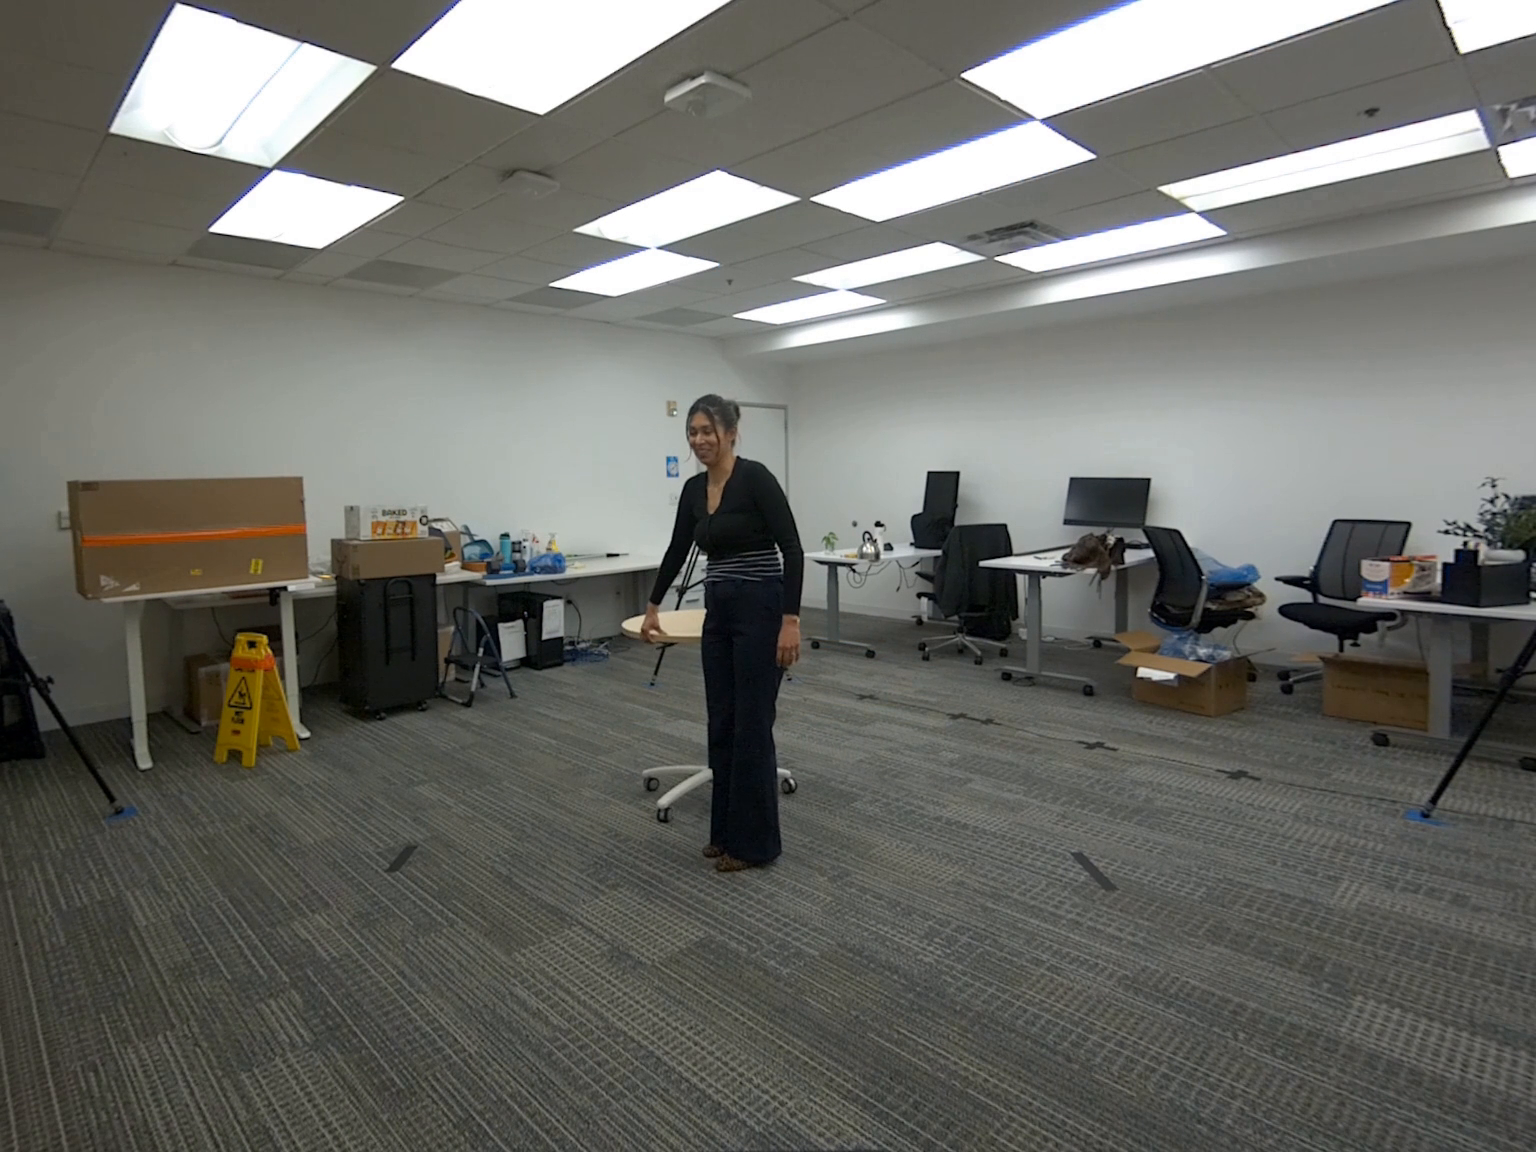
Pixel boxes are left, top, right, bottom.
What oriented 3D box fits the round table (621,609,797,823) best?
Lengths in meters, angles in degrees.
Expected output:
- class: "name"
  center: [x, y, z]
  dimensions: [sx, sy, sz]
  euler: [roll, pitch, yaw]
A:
- class: "round table"
  center: [-0.235, 0.590, 3.710]
  dimensions: [0.763, 0.791, 0.767]
  euler: [-2, 4, -2]
